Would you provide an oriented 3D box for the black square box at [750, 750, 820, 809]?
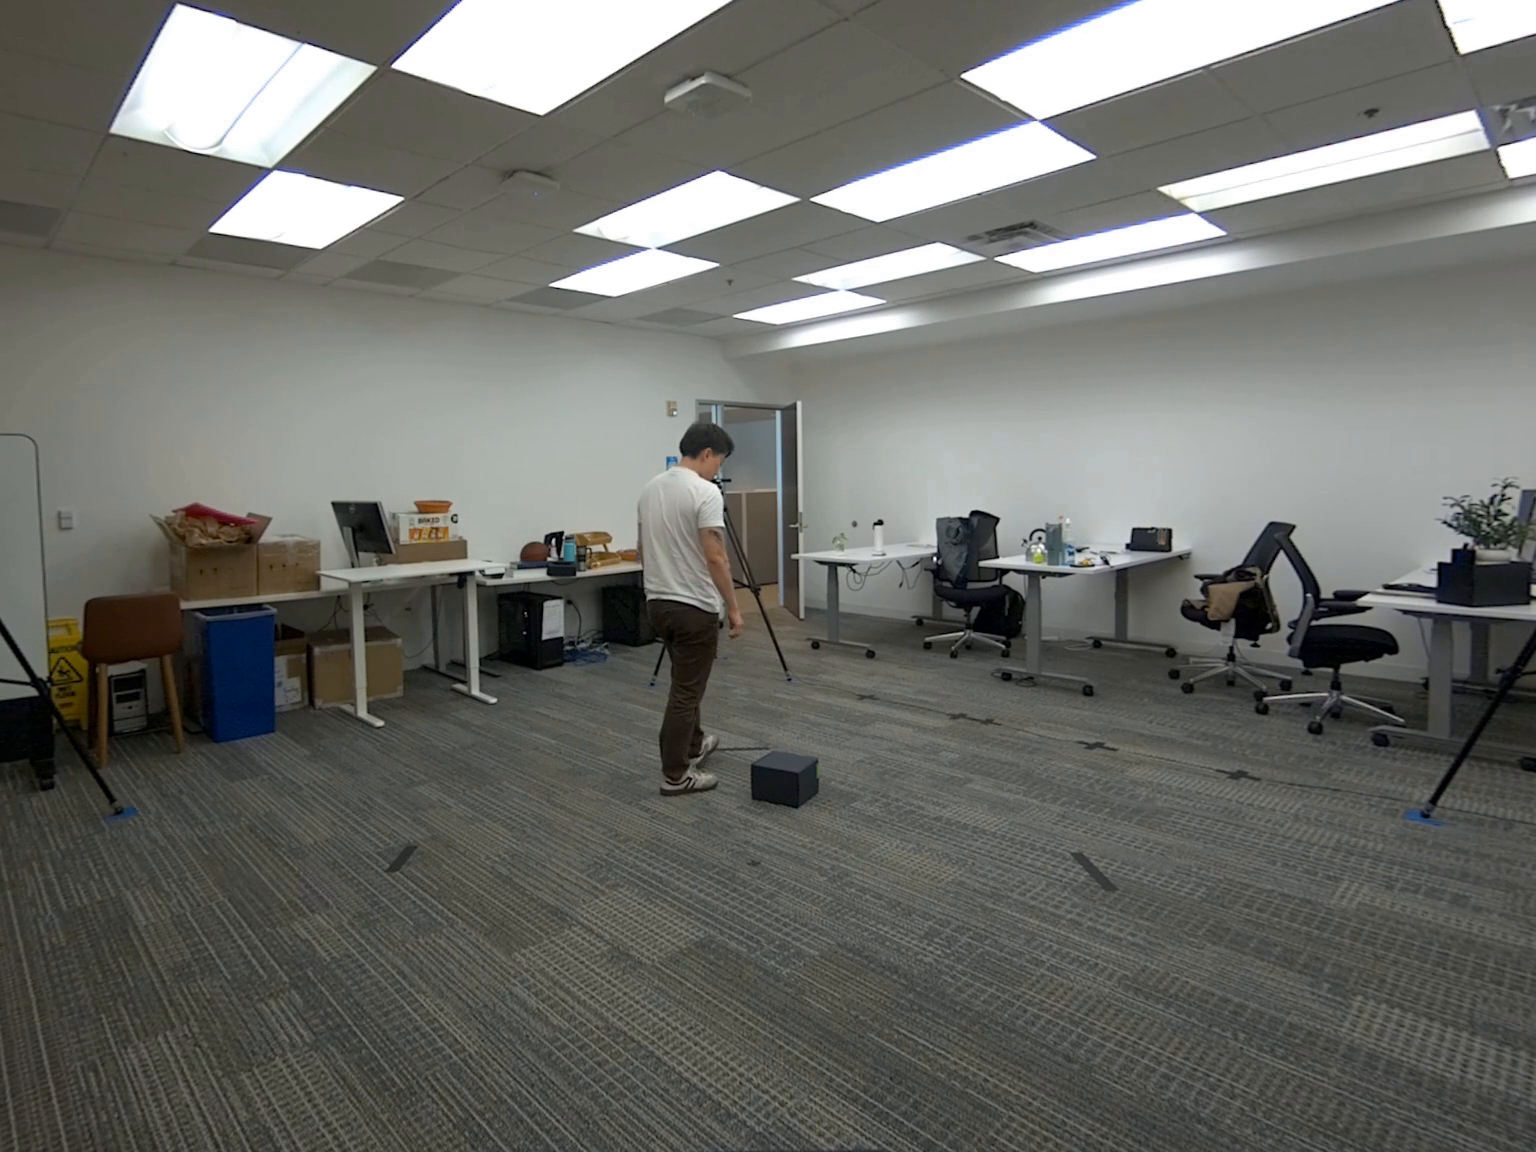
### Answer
[{"bbox_3d":[0.076,0.886,3.753,0.234,0.155,0.212,2,7,29],"label":"black square box"}]
